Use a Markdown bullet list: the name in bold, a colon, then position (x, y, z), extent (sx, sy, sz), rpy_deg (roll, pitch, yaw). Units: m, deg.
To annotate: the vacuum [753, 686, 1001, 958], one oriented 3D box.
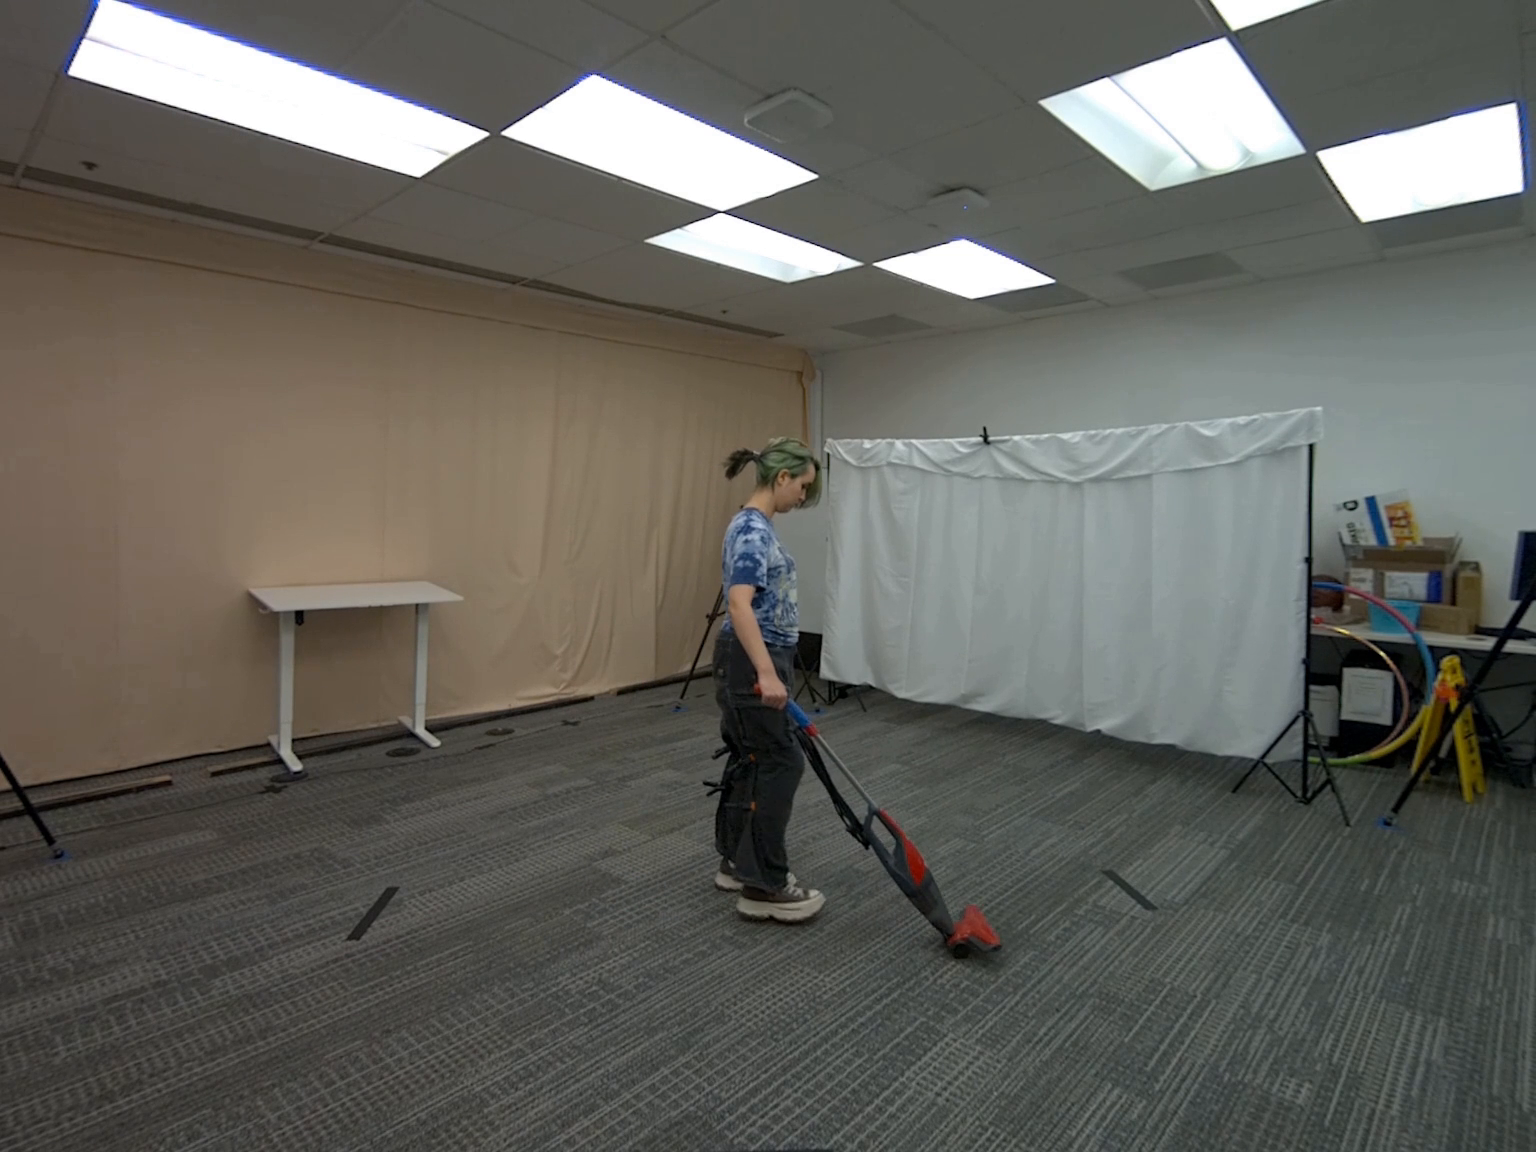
- **vacuum**: position (0.303, 0.755, 2.628), extent (0.144, 1.047, 0.253), rpy_deg (-42, 2, 3)
